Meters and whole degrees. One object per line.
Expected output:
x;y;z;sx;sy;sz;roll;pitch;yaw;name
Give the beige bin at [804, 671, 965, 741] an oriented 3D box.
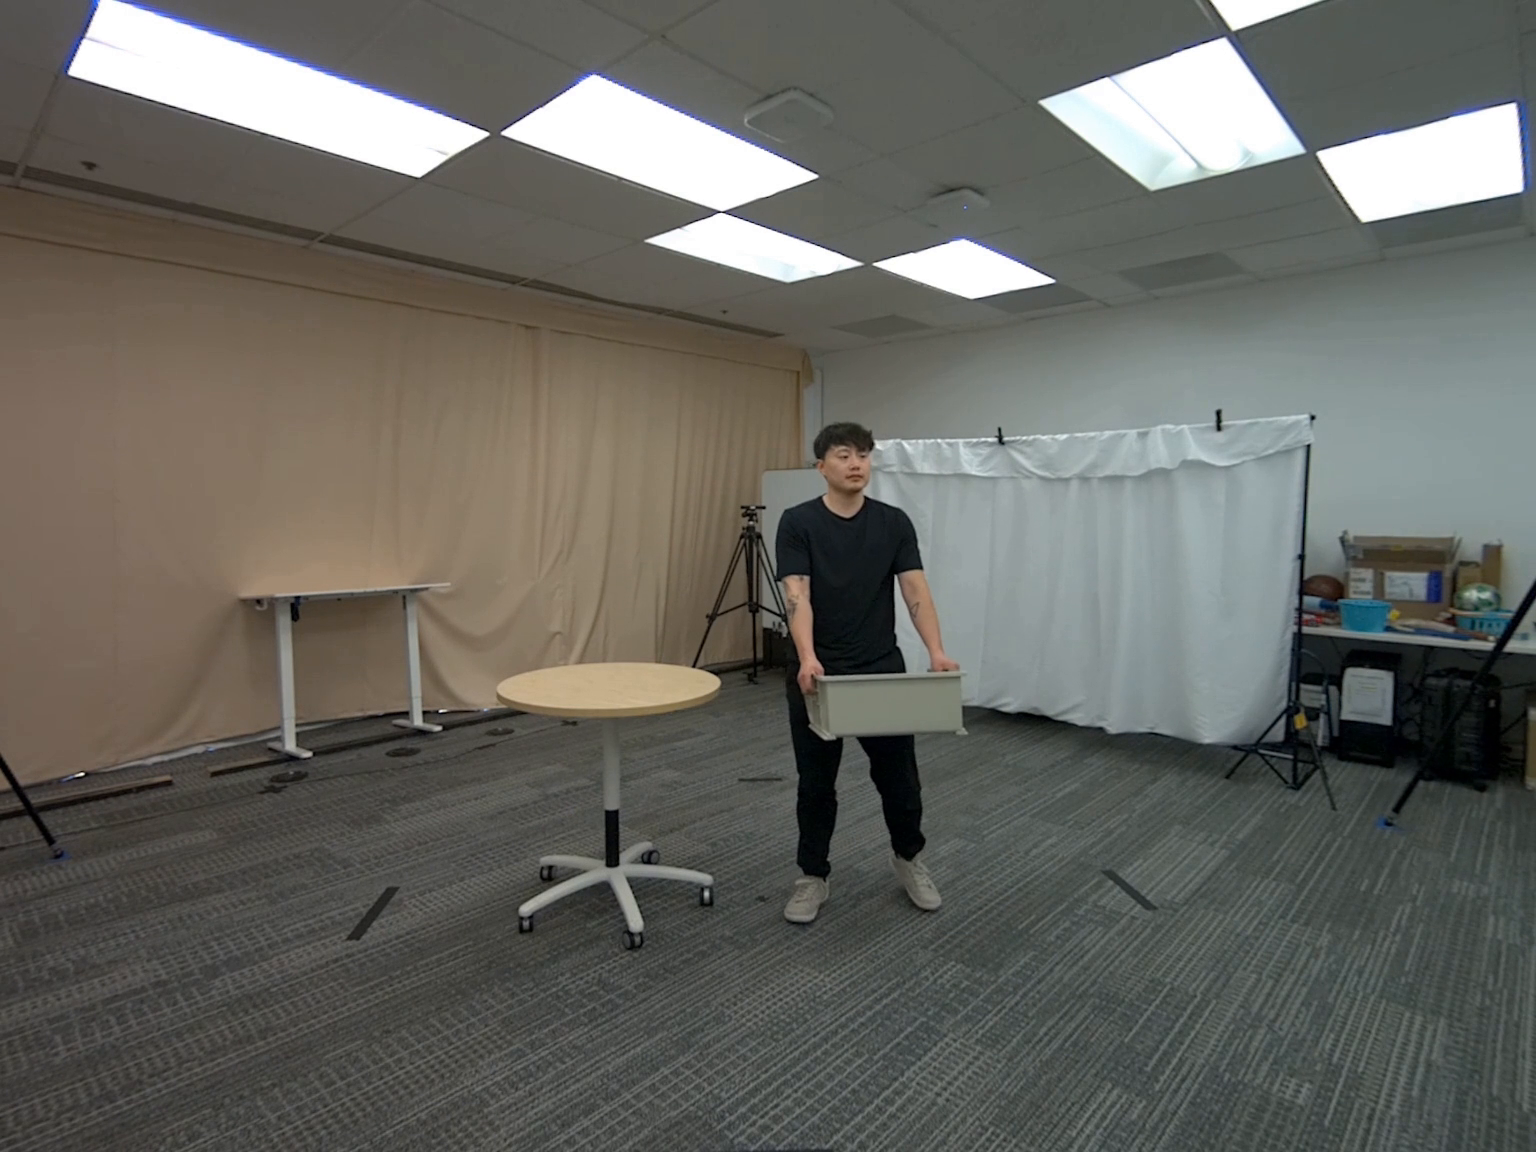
0.353;0.382;2.572;0.421;0.189;0.378;-2;-2;-4;beige bin
